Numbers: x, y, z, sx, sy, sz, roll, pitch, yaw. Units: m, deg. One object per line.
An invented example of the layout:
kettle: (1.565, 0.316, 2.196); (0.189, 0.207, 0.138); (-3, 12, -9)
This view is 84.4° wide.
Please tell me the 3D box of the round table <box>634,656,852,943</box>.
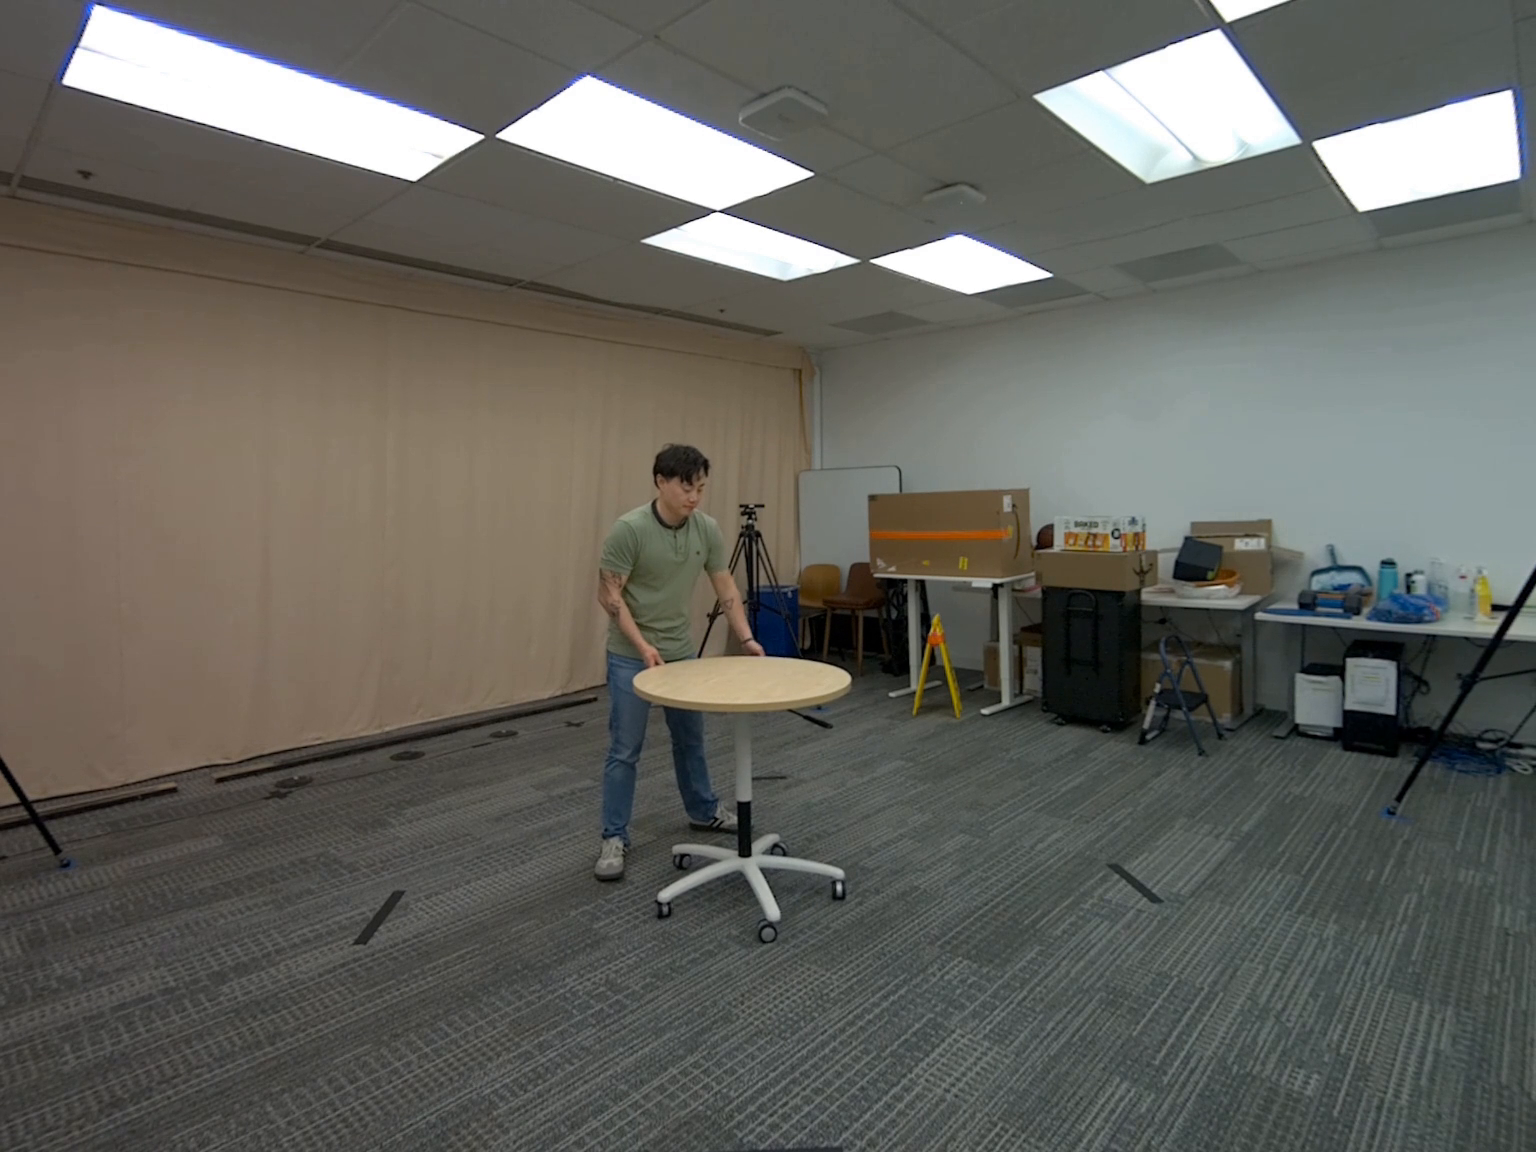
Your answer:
round table: (-0.076, 0.750, 2.989); (0.763, 0.792, 0.766); (-1, 4, -2)
